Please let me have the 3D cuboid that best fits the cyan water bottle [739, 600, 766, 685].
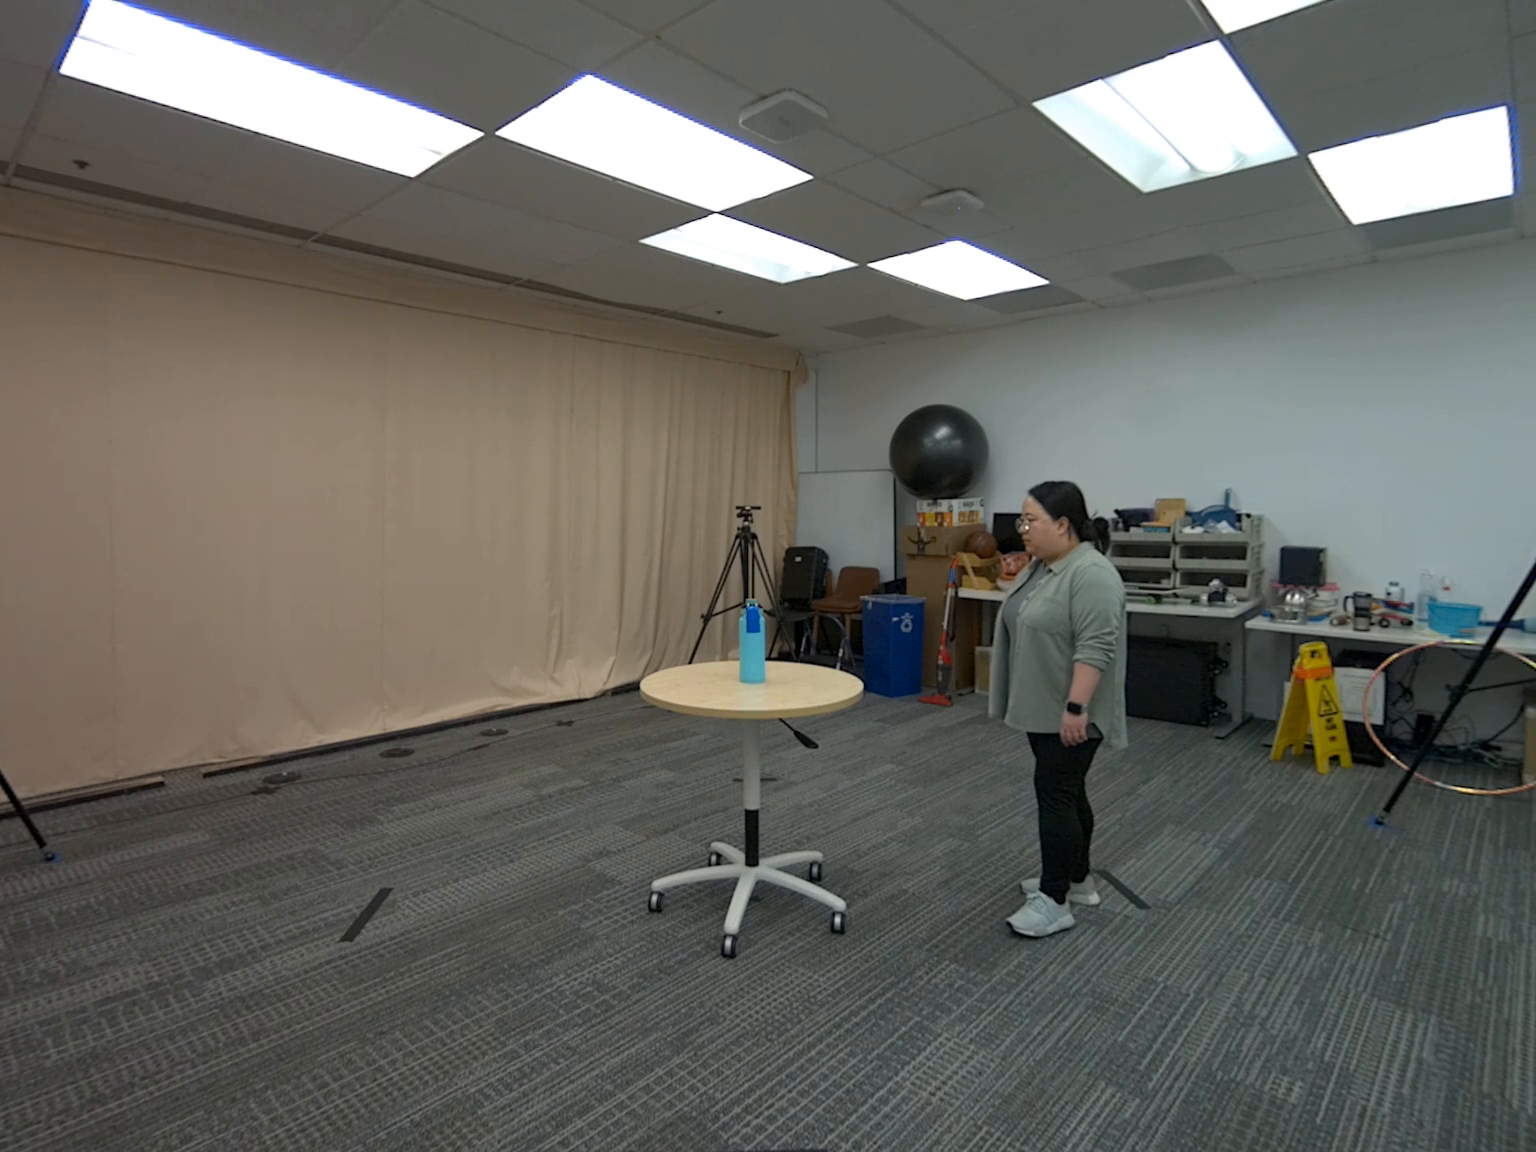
[{"bbox_3d":[-0.050,0.228,2.929,0.092,0.282,0.093,-1,5,-2],"label":"cyan water bottle"}]
